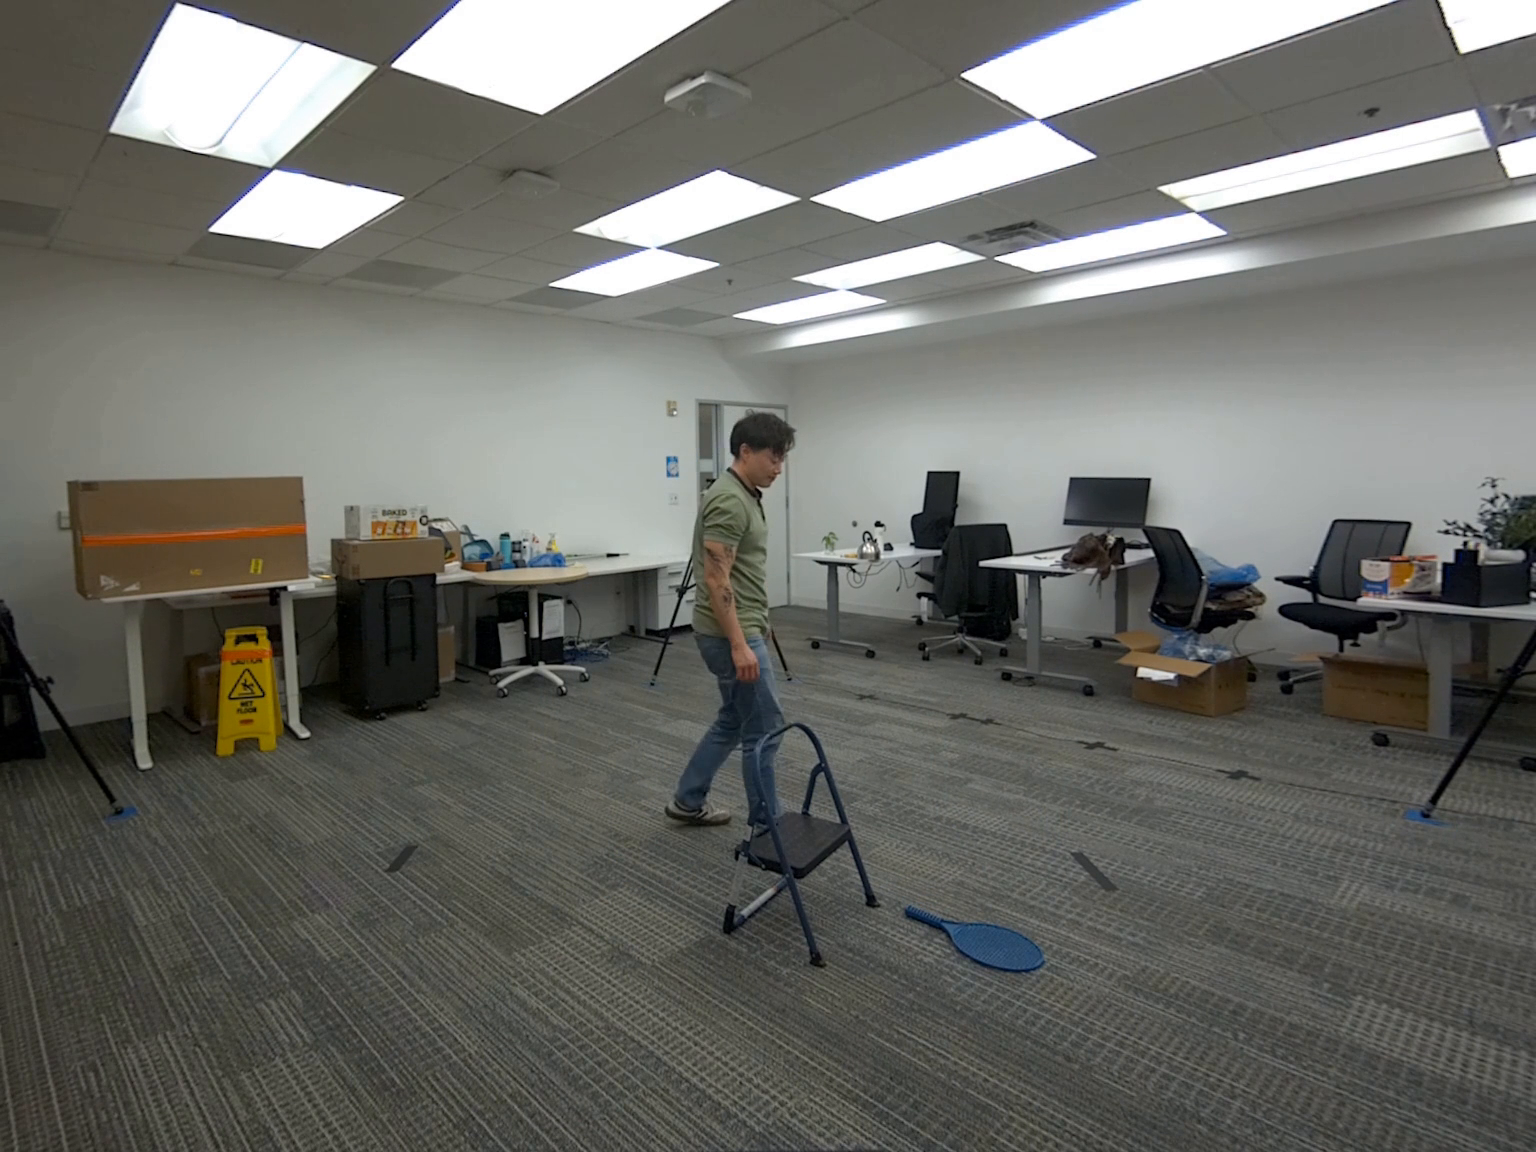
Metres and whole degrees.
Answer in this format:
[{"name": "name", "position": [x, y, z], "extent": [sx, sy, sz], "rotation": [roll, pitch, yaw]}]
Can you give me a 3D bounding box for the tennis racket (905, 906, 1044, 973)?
[{"name": "tennis racket", "position": [0.609, 1.074, 2.573], "extent": [0.447, 0.031, 0.208], "rotation": [7, 10, 43]}]
